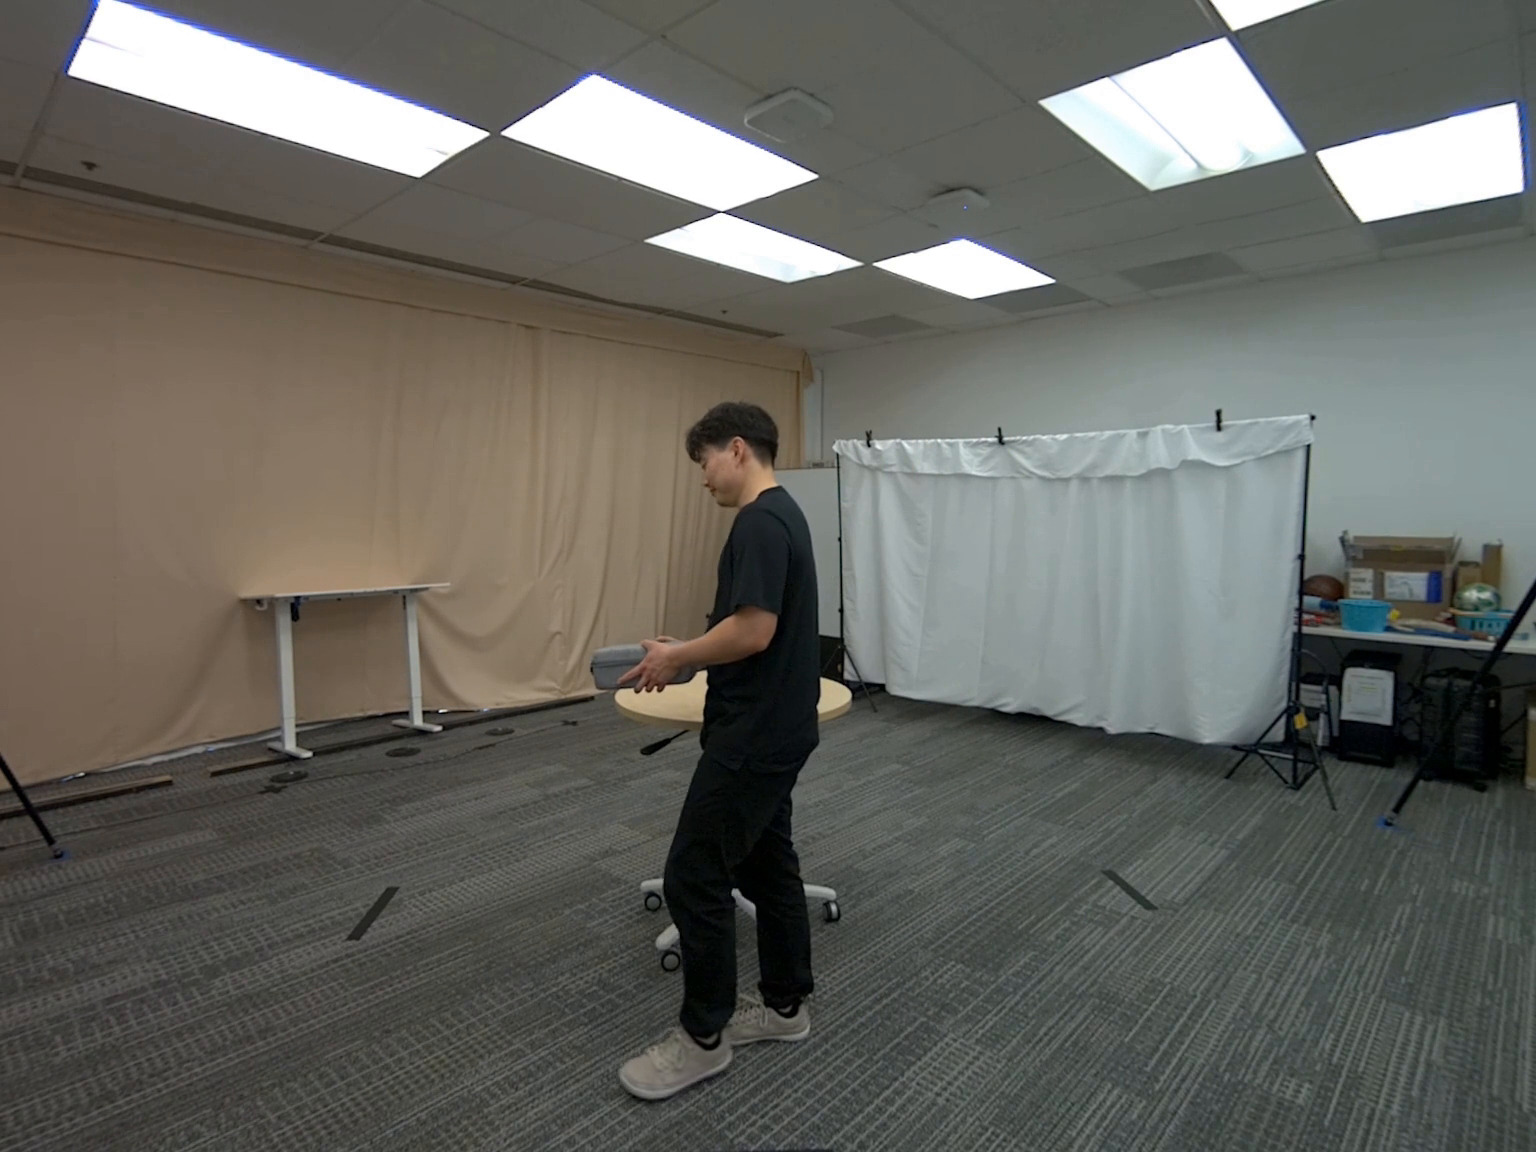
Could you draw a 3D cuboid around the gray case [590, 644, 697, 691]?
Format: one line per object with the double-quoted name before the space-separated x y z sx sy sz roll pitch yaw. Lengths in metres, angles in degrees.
"gray case" -0.315 0.234 2.190 0.261 0.104 0.256 -2 -2 1
